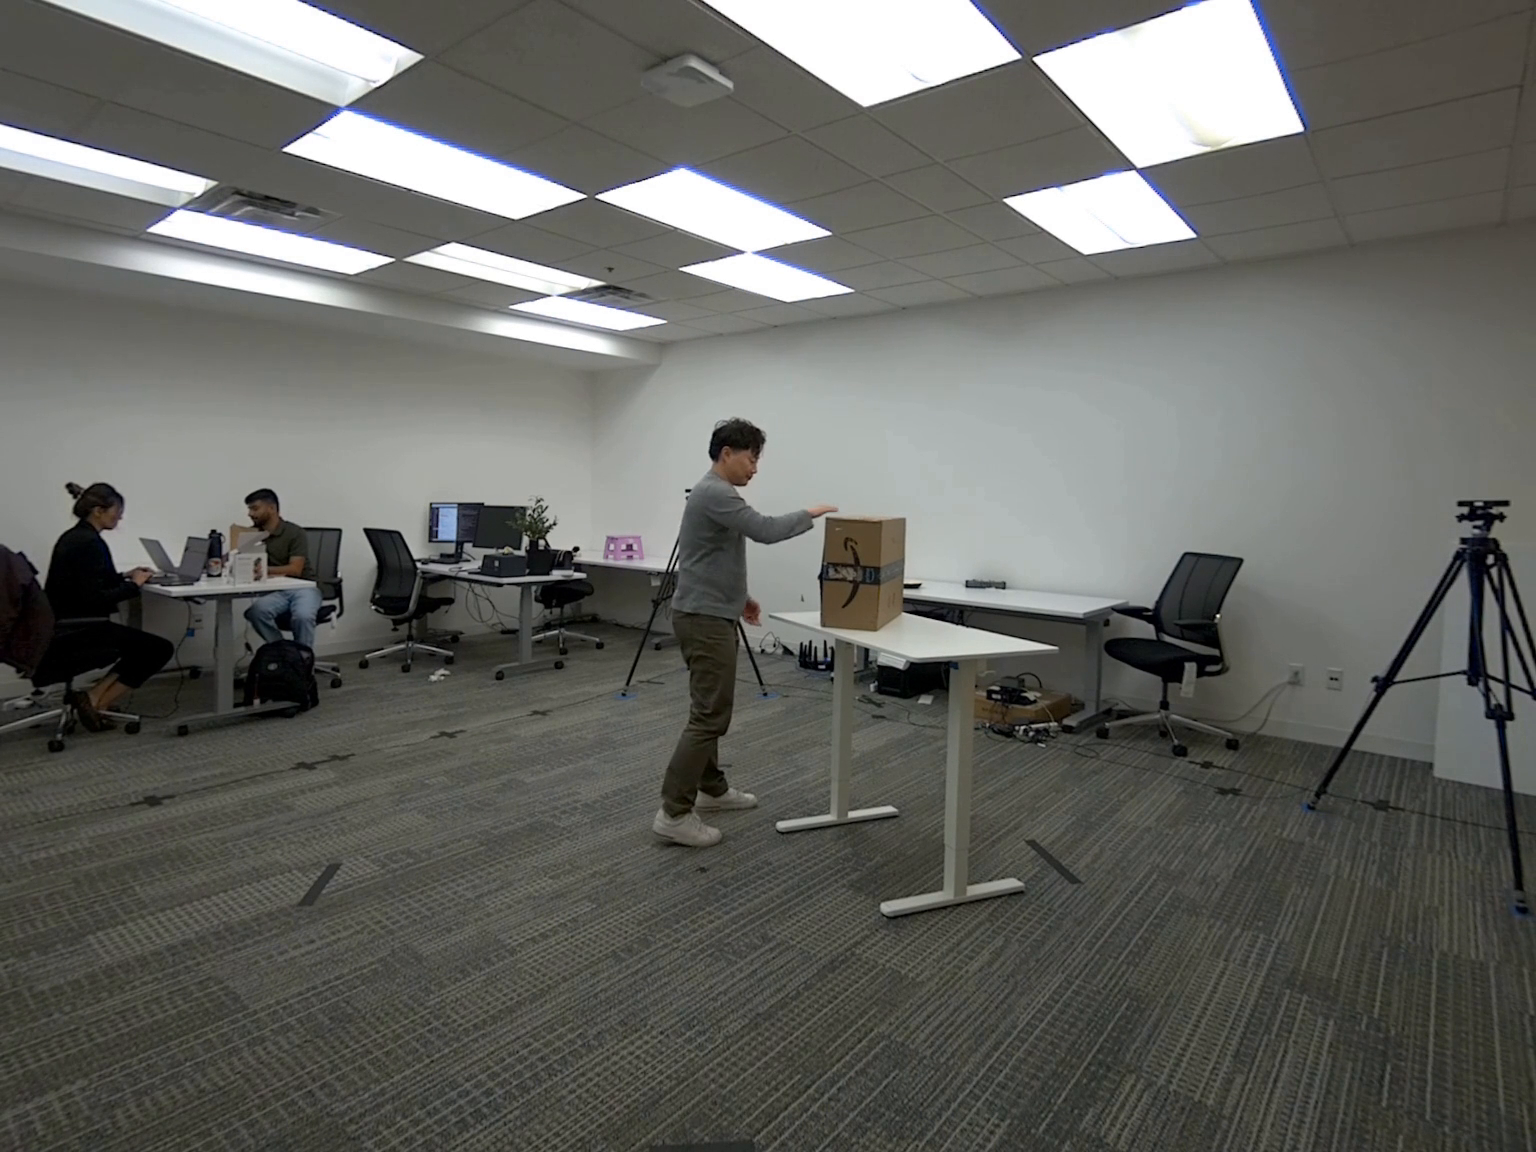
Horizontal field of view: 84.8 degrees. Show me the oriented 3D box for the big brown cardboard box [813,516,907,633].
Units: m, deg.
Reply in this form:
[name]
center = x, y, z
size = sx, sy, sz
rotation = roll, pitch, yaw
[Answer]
[big brown cardboard box]
center = 0.384, -0.028, 3.418
size = 0.238, 0.416, 0.578
rotation = 4, 4, 19
